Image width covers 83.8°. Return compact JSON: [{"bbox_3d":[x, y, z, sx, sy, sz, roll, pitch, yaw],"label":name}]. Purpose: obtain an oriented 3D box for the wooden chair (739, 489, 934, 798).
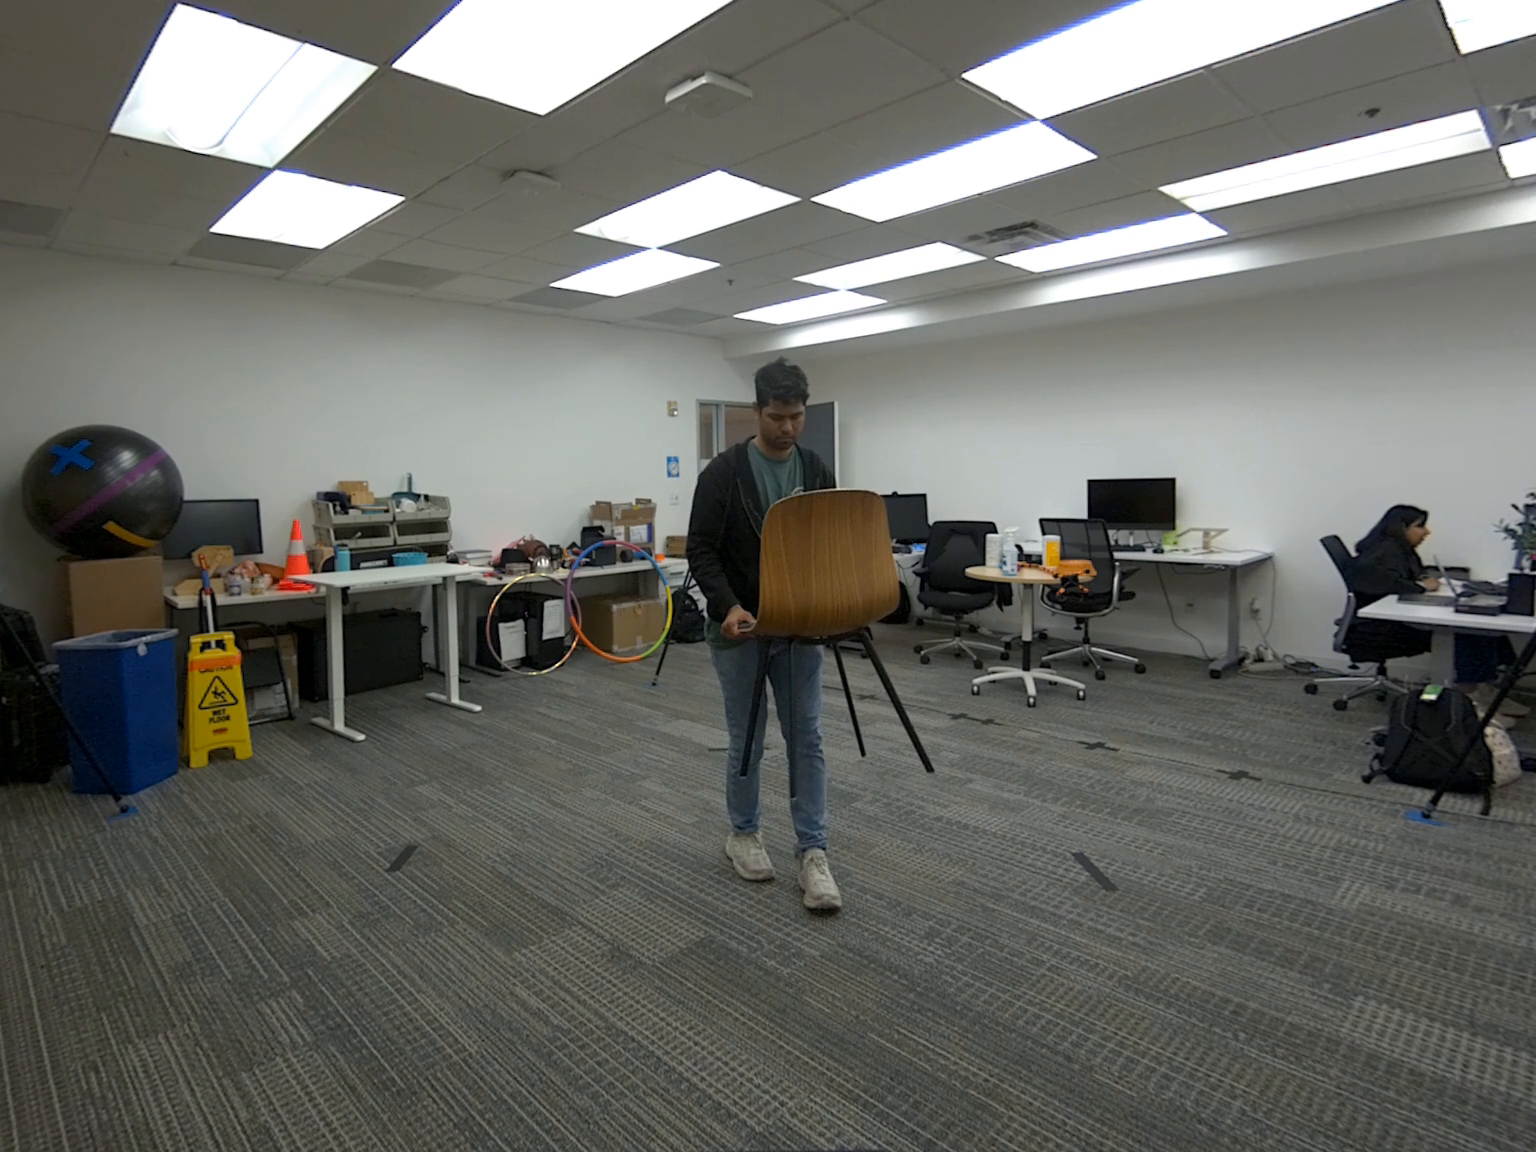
[{"bbox_3d":[0.139,0.197,2.687,0.470,0.879,0.530,-6,-2,-20],"label":"wooden chair"}]
